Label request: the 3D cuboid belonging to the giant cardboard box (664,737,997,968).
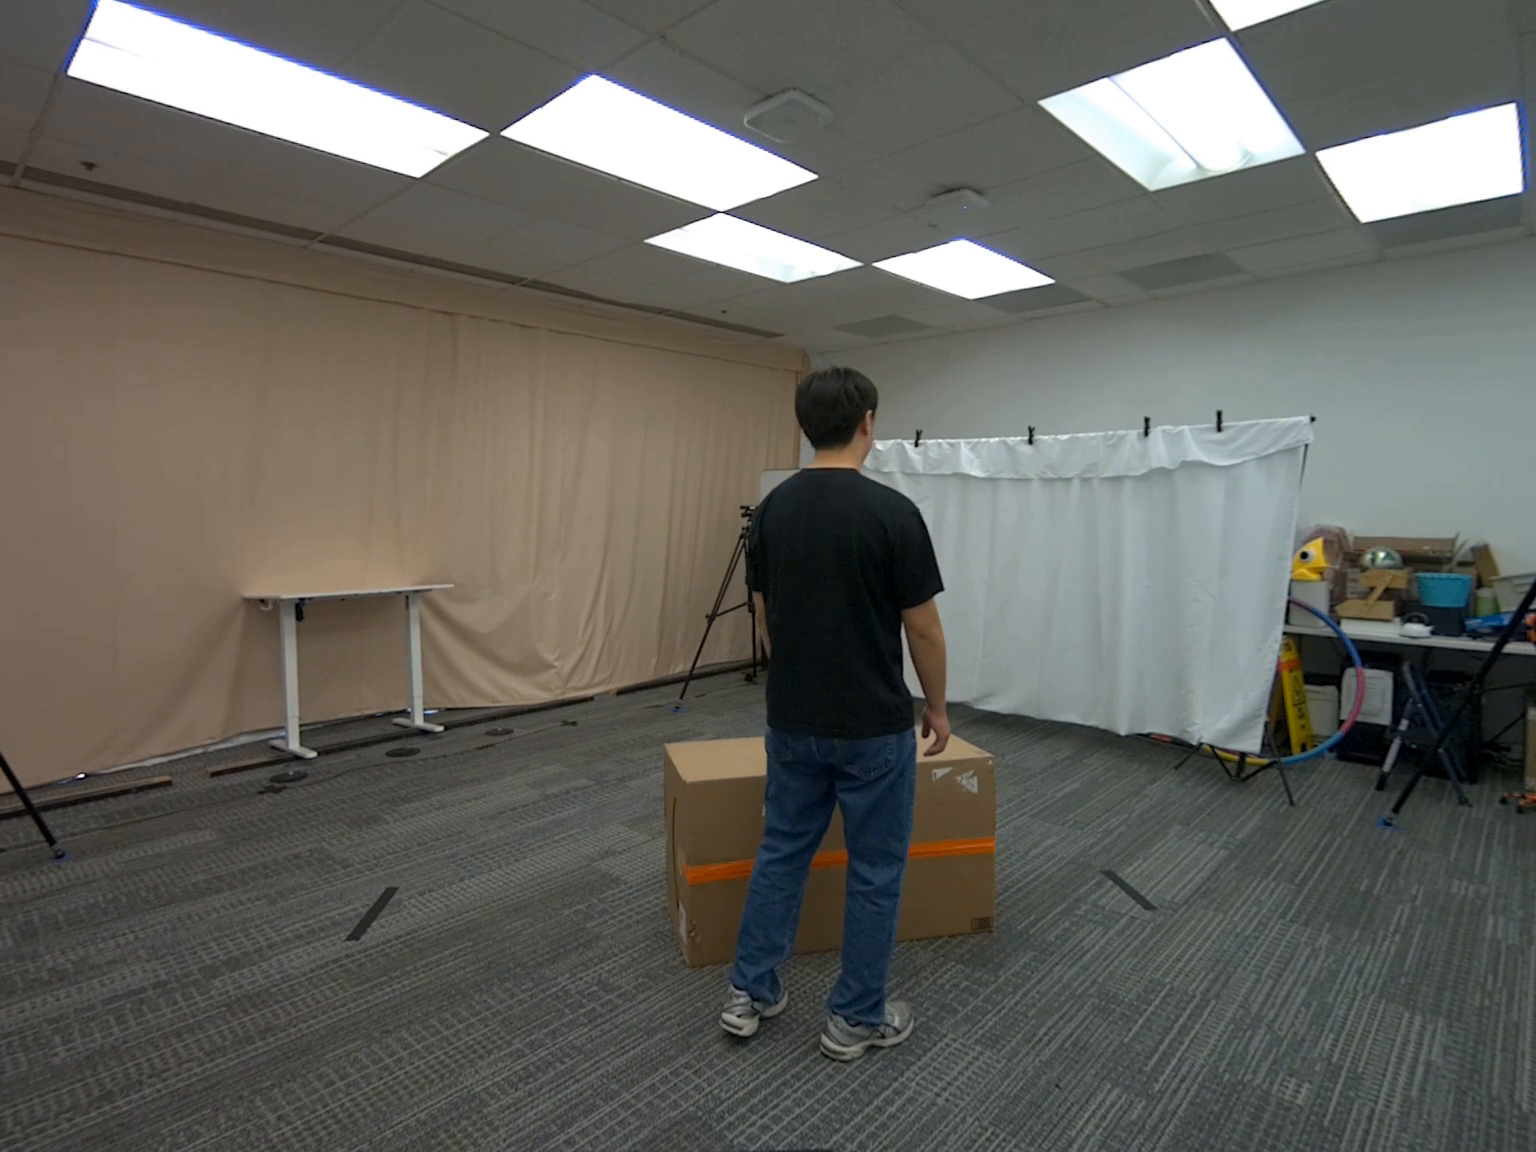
[{"bbox_3d":[0.191,0.867,2.832,1.013,0.582,0.454,-2,5,-13],"label":"giant cardboard box"}]
